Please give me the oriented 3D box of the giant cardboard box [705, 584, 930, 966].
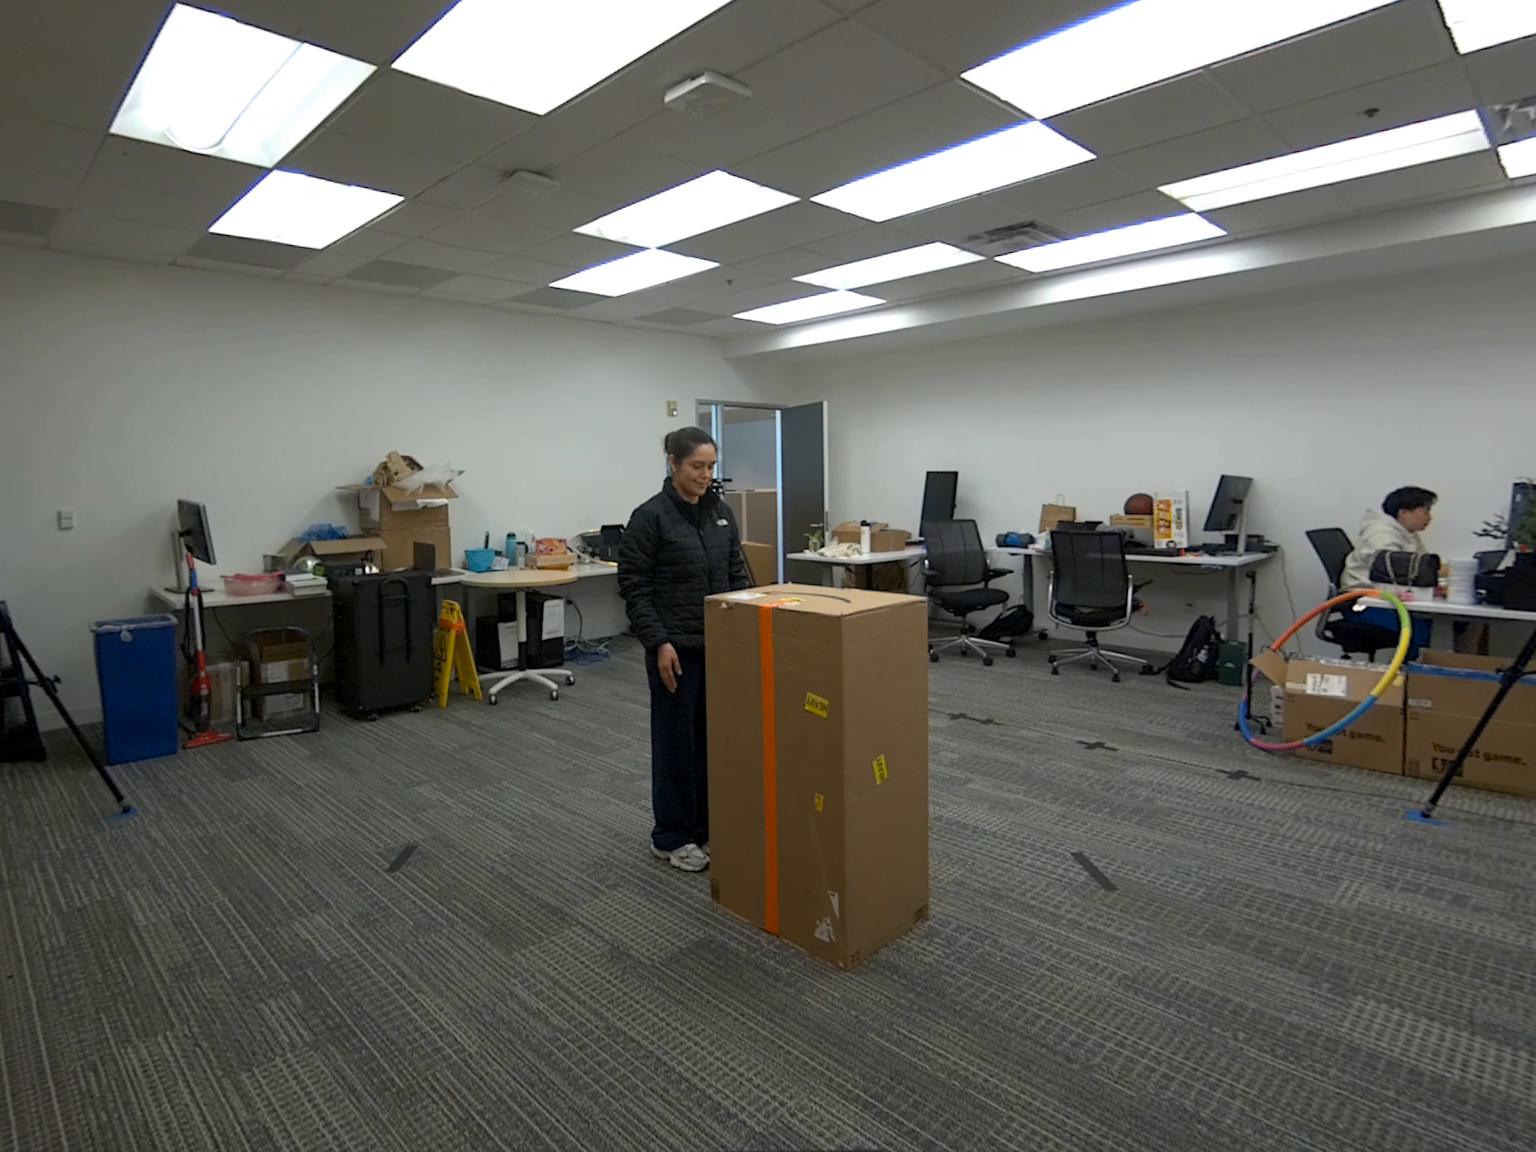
[{"bbox_3d":[0.152,0.572,2.736,0.435,1.023,0.602,-6,6,-43],"label":"giant cardboard box"}]
